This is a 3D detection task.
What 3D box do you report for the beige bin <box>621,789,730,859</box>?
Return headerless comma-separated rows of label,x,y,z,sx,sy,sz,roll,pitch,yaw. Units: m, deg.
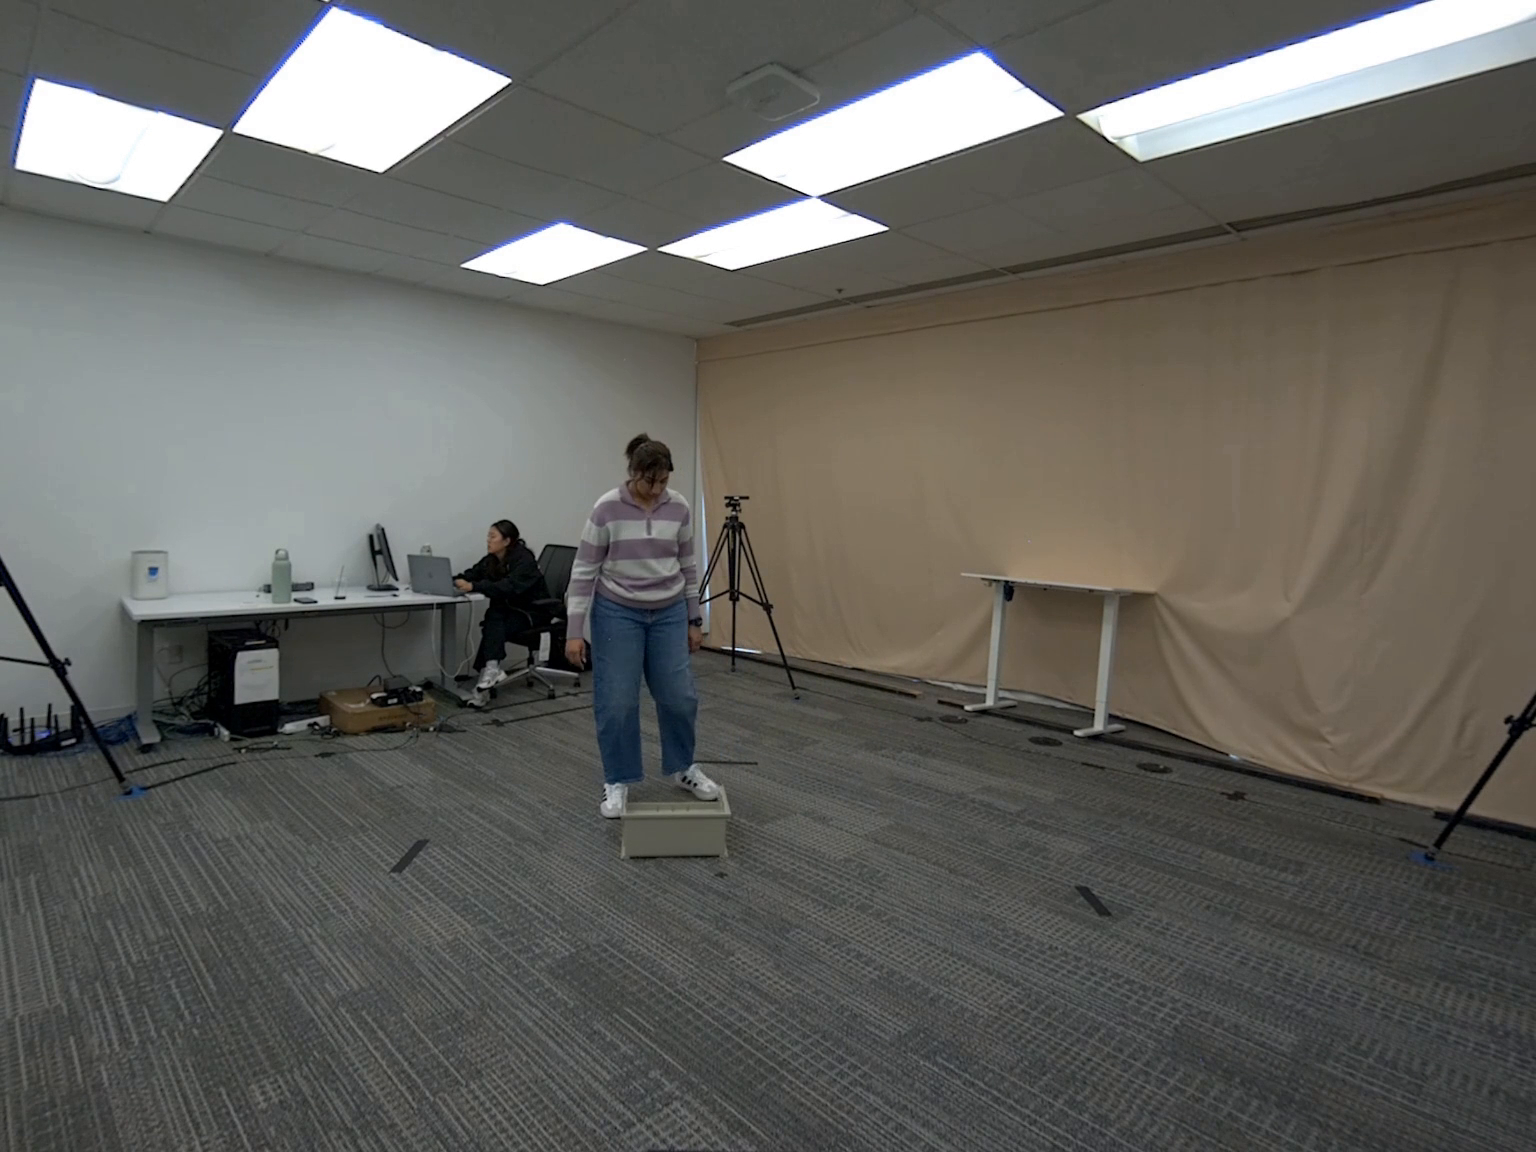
beige bin,-0.388,0.983,3.407,0.420,0.188,0.380,2,5,-7
